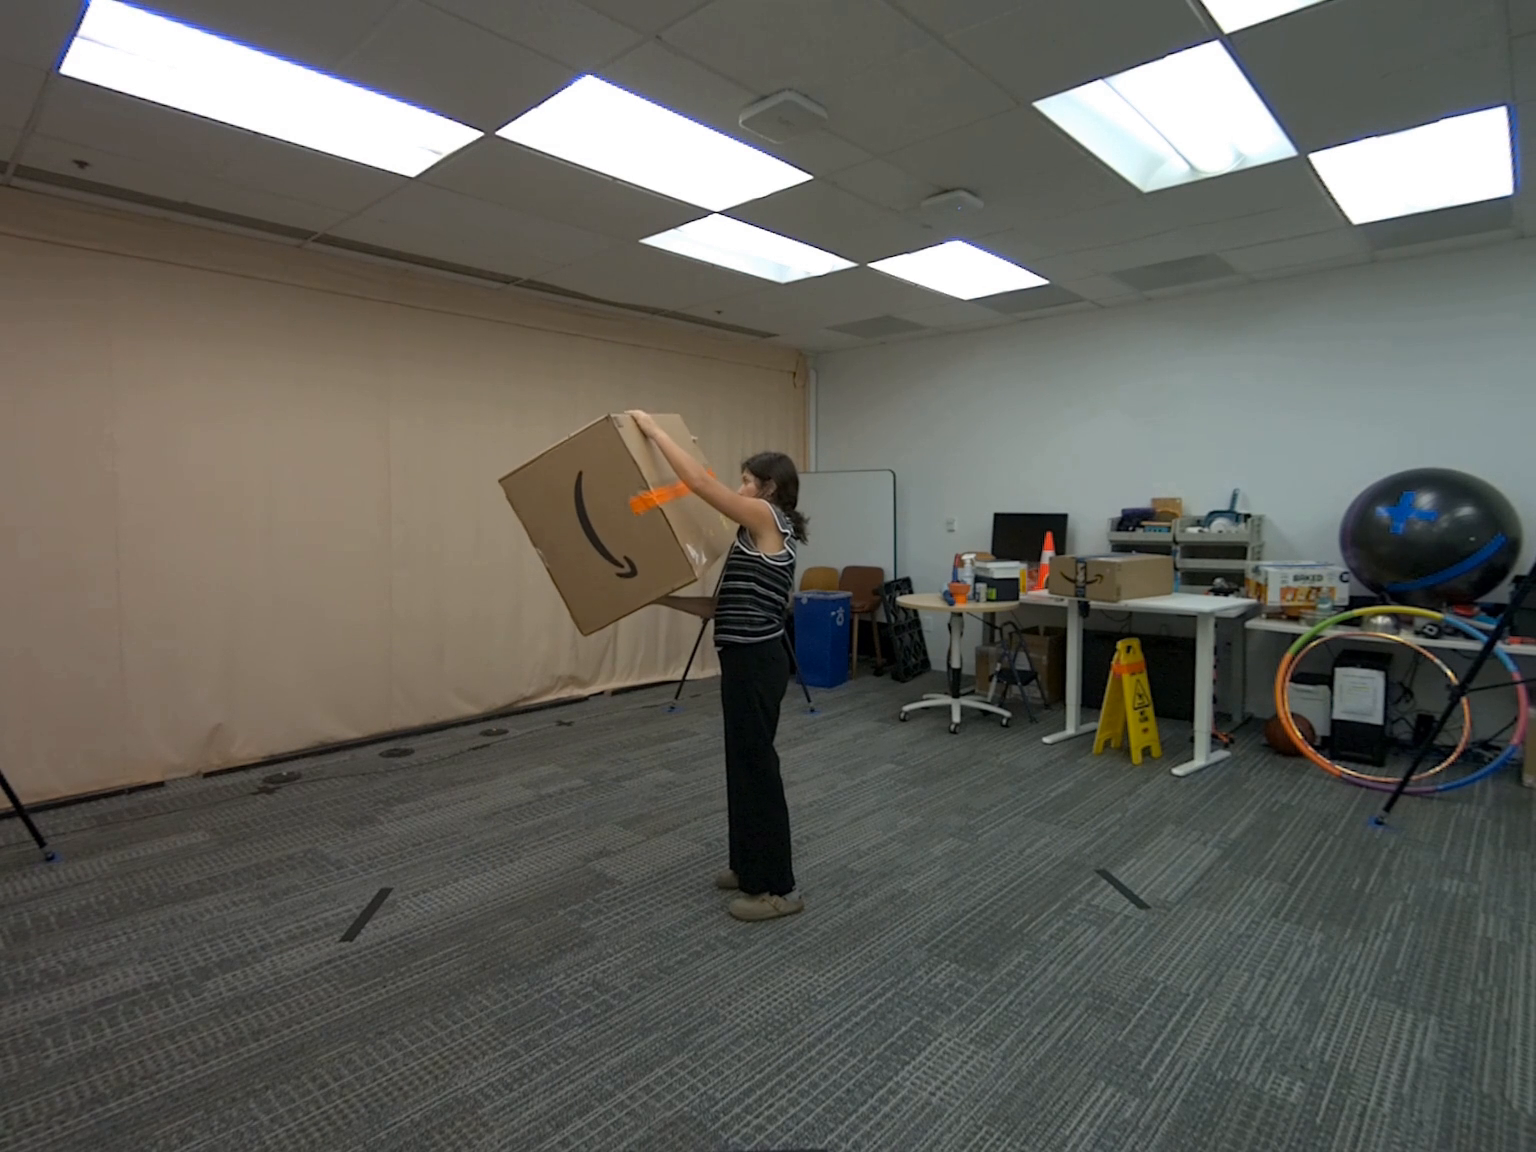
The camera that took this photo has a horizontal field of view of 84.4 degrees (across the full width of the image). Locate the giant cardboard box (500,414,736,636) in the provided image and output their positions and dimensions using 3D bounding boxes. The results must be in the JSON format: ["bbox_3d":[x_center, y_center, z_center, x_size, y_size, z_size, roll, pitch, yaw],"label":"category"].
[{"bbox_3d":[-0.469,-0.247,3.106,0.429,0.575,1.022,-27,6,11],"label":"giant cardboard box"}]
